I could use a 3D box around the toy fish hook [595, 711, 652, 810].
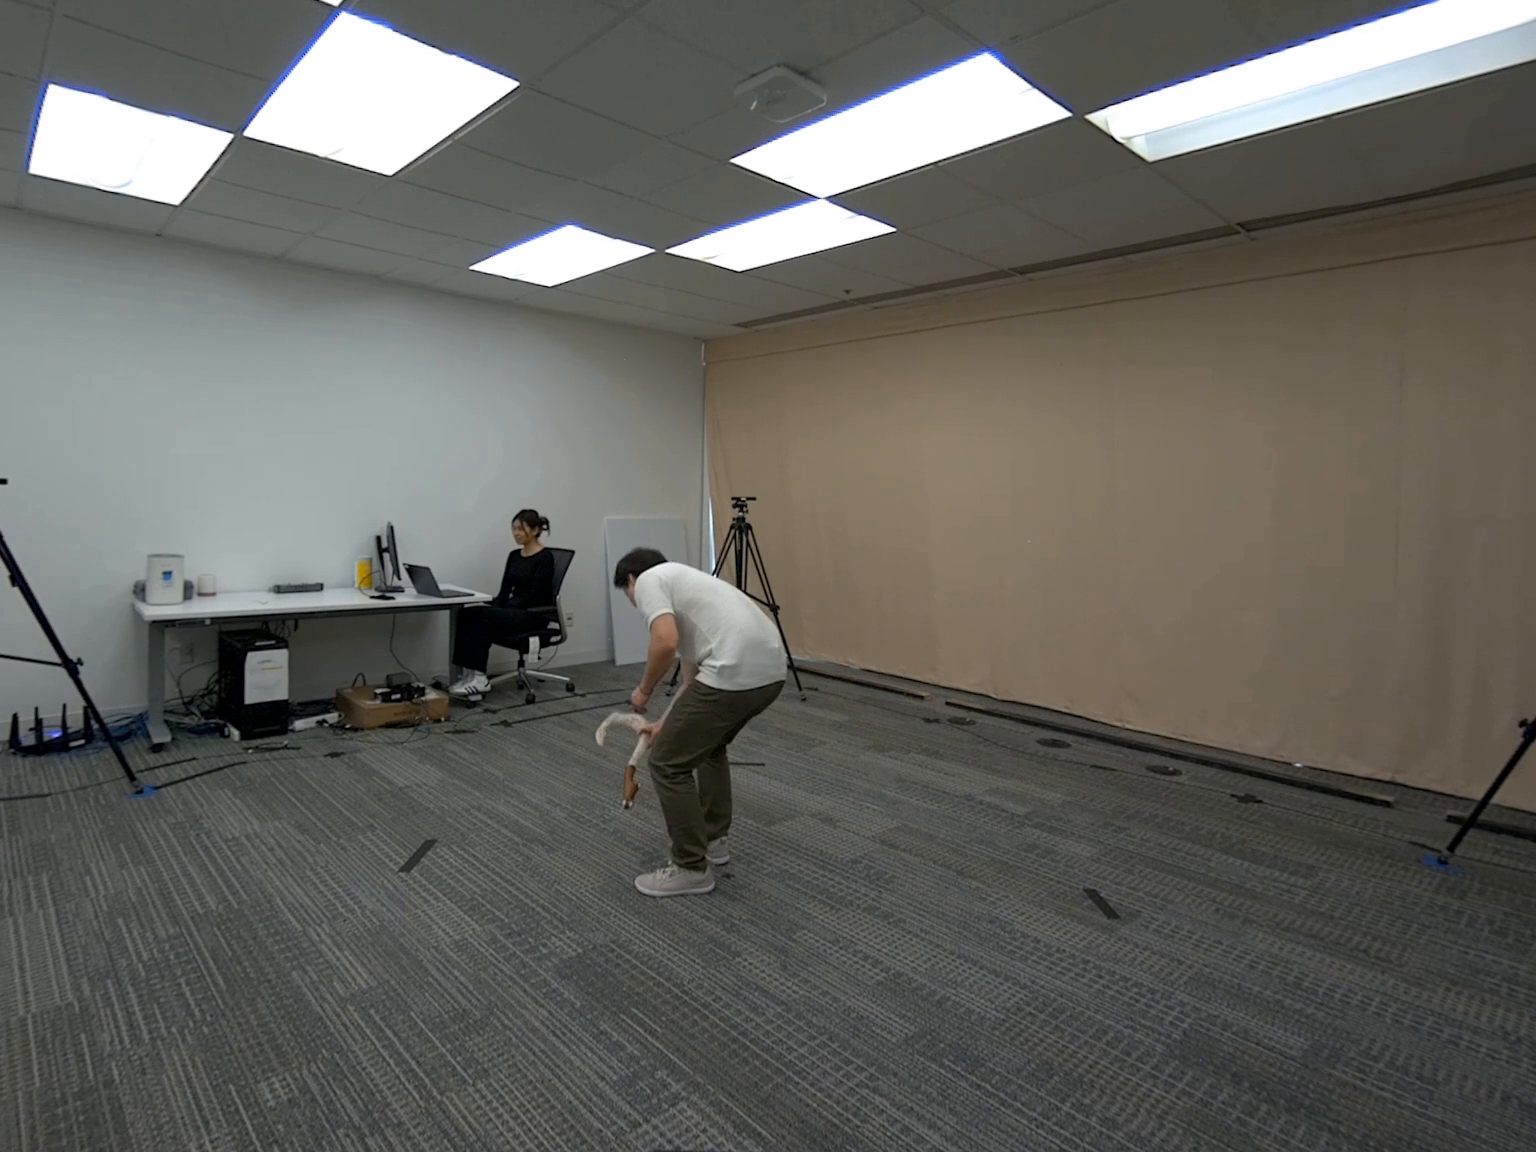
[{"bbox_3d":[-0.598,0.733,3.363,0.224,0.047,0.516,3,32,-3],"label":"toy fish hook"}]
